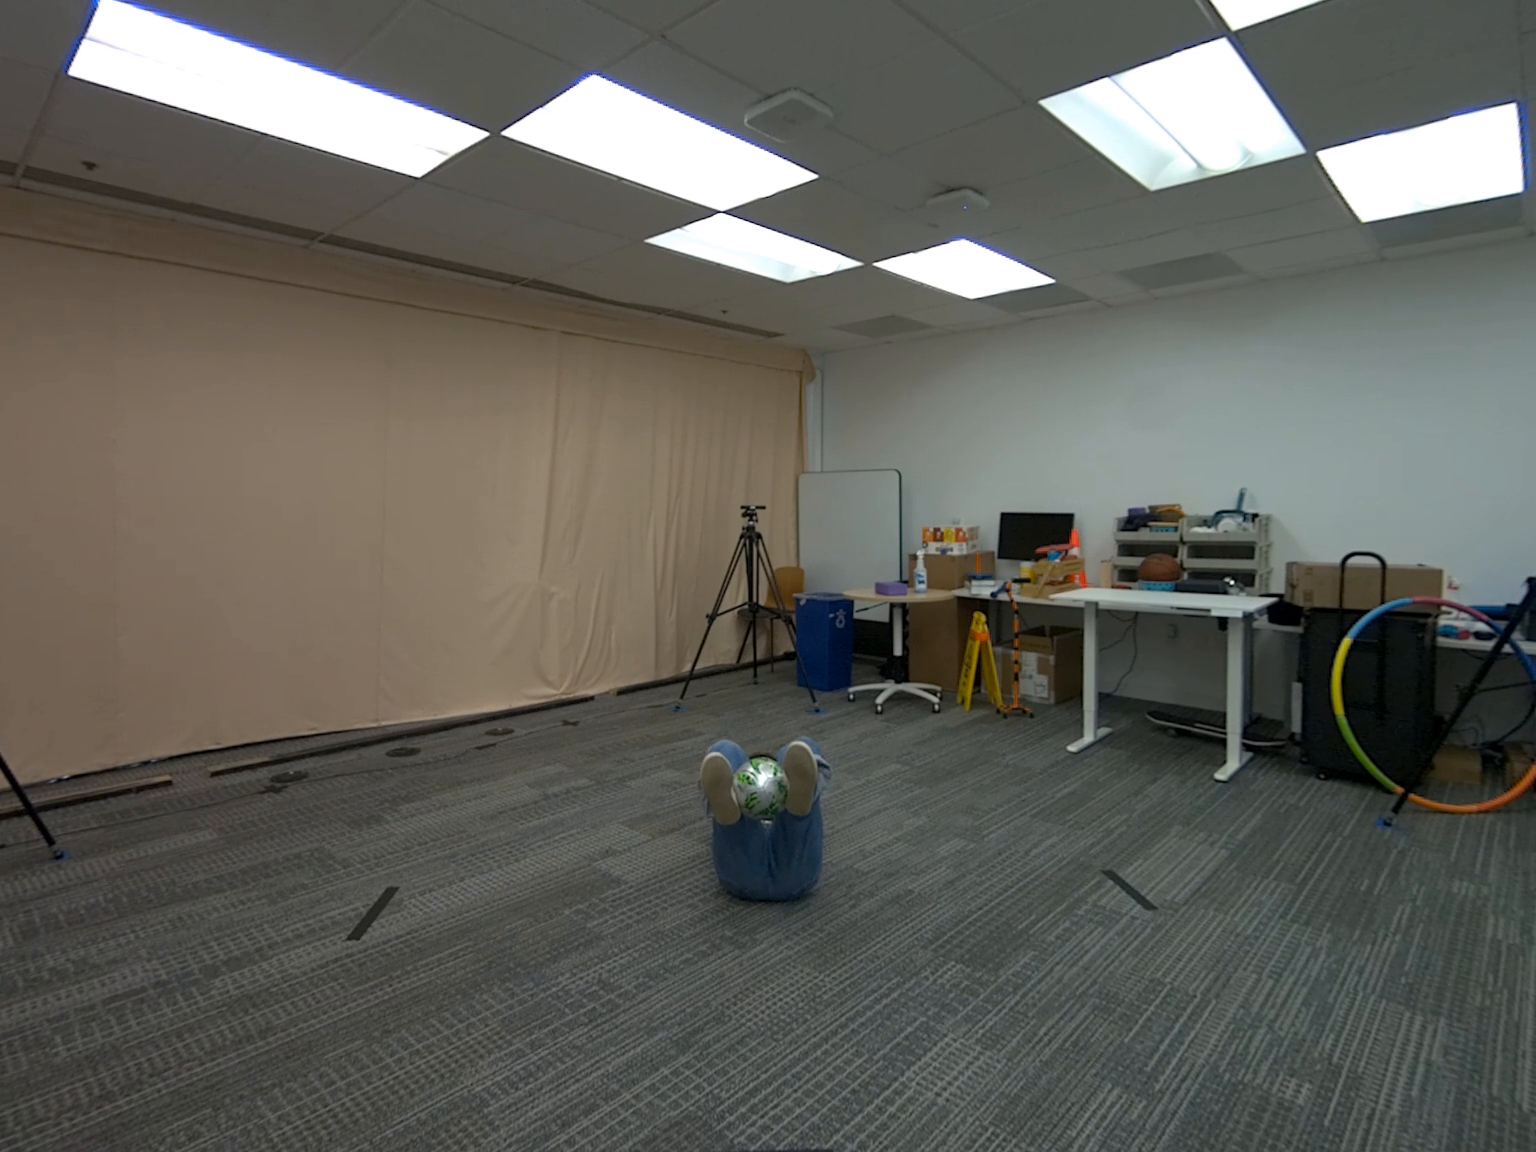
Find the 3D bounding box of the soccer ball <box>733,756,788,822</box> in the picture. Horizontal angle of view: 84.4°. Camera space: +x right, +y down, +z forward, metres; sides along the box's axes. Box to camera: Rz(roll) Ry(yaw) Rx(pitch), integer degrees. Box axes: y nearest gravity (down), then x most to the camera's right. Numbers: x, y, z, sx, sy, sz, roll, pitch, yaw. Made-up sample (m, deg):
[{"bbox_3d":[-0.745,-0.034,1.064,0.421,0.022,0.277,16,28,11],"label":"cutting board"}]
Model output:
[{"bbox_3d":[-0.005,0.671,2.621,0.187,0.187,0.188,3,4,-2],"label":"soccer ball"}]
